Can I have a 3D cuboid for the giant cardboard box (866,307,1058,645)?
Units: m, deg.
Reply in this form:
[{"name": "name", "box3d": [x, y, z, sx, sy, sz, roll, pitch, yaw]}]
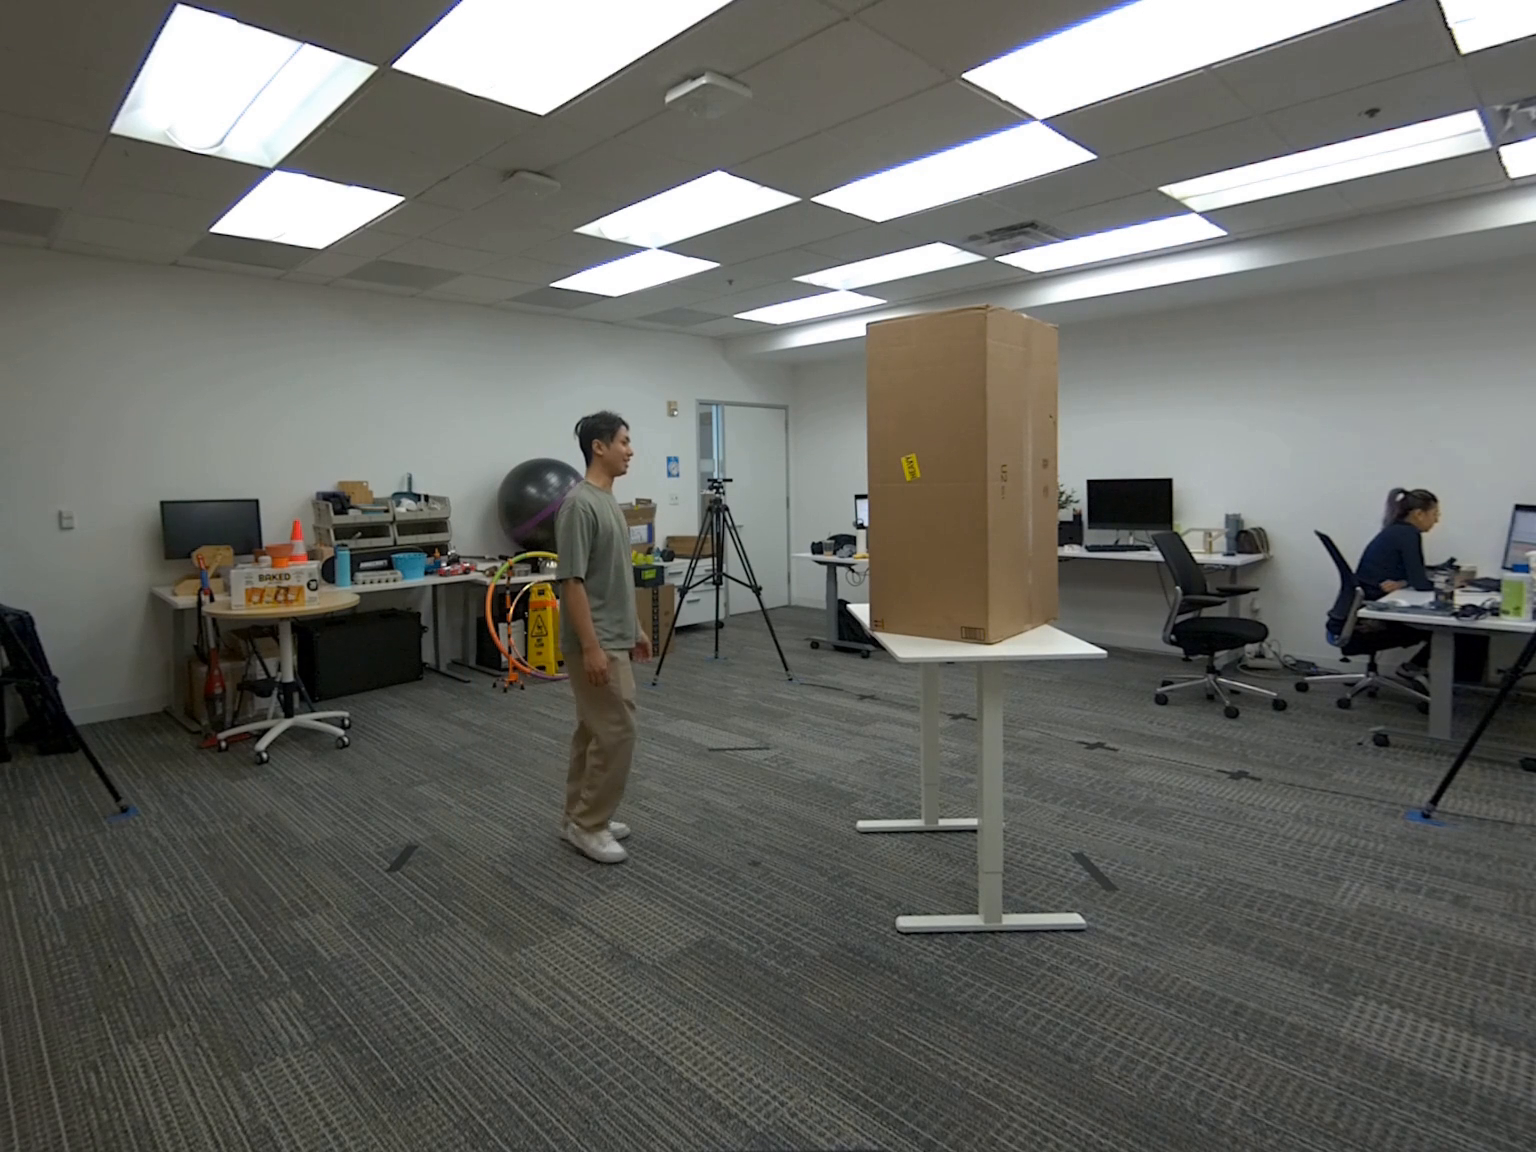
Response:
[{"name": "giant cardboard box", "box3d": [0.673, -0.338, 2.901, 0.439, 1.022, 0.563, 2, 5, 40]}]
